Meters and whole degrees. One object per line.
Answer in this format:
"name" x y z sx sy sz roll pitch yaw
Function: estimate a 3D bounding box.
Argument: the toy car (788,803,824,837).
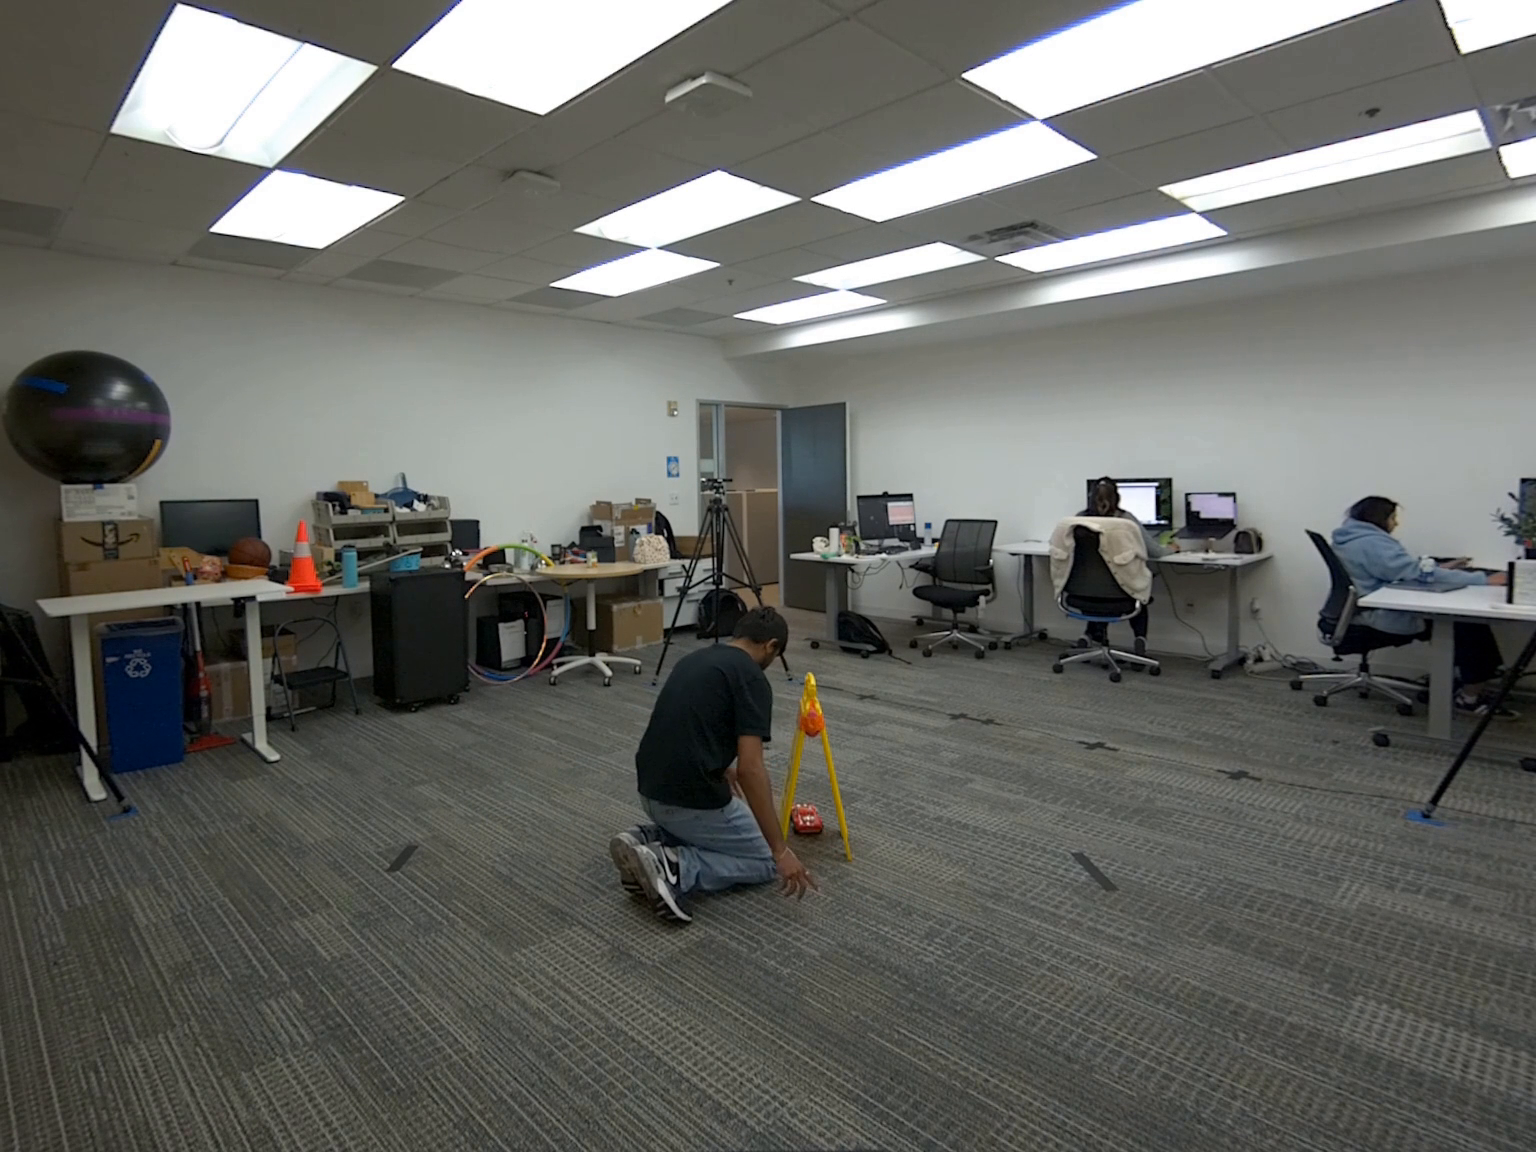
"toy car" 0.151 0.970 3.424 0.130 0.084 0.254 0 -5 -6
